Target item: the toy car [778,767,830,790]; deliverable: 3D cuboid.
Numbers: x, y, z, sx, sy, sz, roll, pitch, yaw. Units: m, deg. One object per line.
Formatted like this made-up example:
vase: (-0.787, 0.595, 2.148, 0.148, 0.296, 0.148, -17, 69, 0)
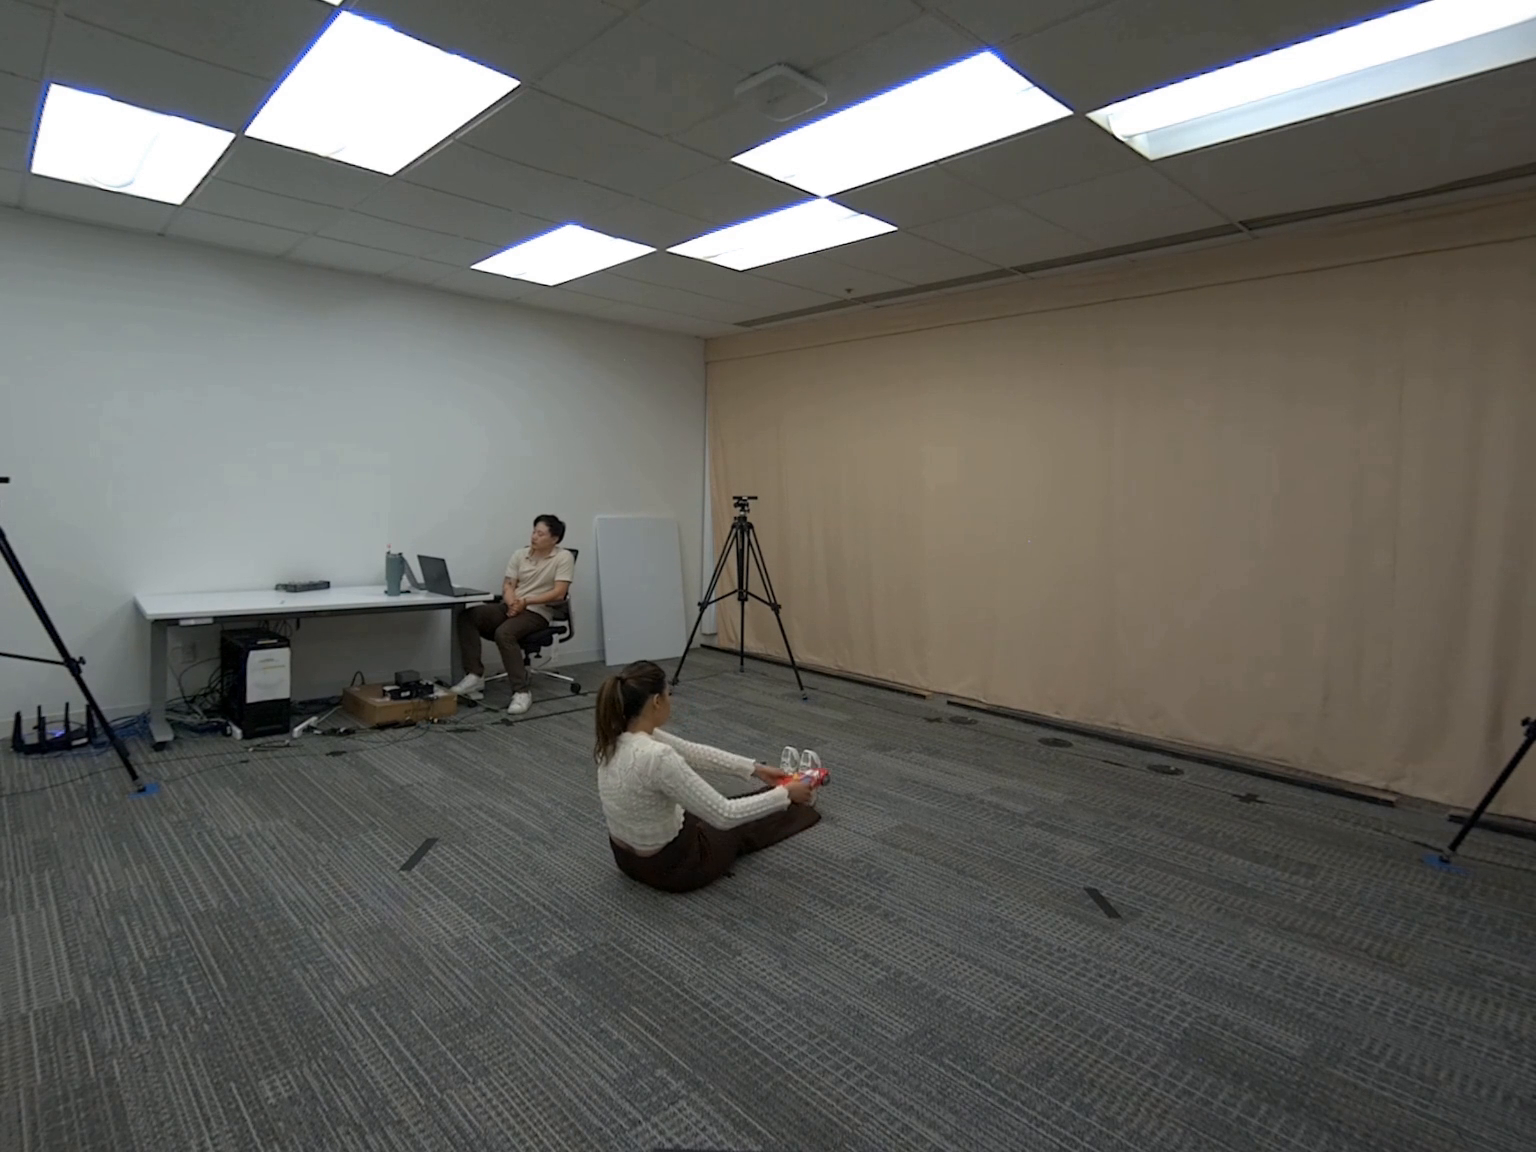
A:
toy car: (0.092, 0.778, 3.101, 0.250, 0.083, 0.133, -11, 7, -36)
